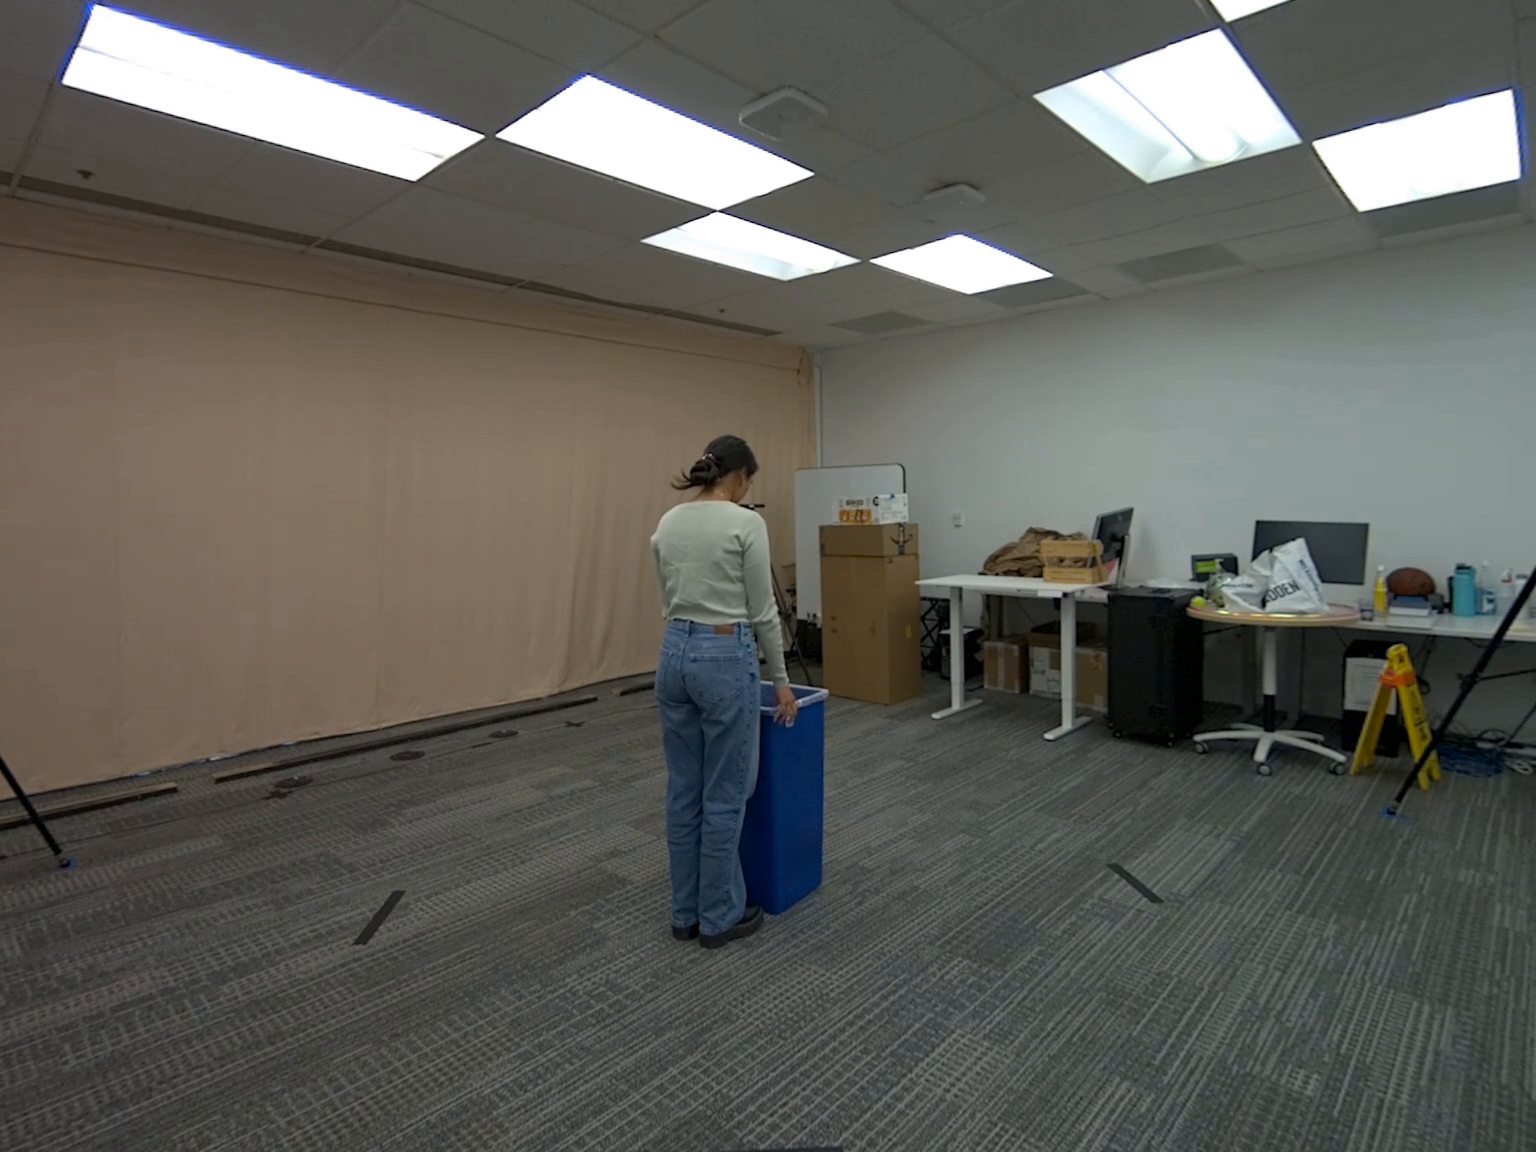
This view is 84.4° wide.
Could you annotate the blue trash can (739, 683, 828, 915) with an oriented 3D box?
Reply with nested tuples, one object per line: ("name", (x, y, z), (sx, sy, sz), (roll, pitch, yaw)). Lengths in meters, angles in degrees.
("blue trash can", (-0.017, 0.775, 3.038), (0.386, 0.712, 0.367), (2, 4, 37))
